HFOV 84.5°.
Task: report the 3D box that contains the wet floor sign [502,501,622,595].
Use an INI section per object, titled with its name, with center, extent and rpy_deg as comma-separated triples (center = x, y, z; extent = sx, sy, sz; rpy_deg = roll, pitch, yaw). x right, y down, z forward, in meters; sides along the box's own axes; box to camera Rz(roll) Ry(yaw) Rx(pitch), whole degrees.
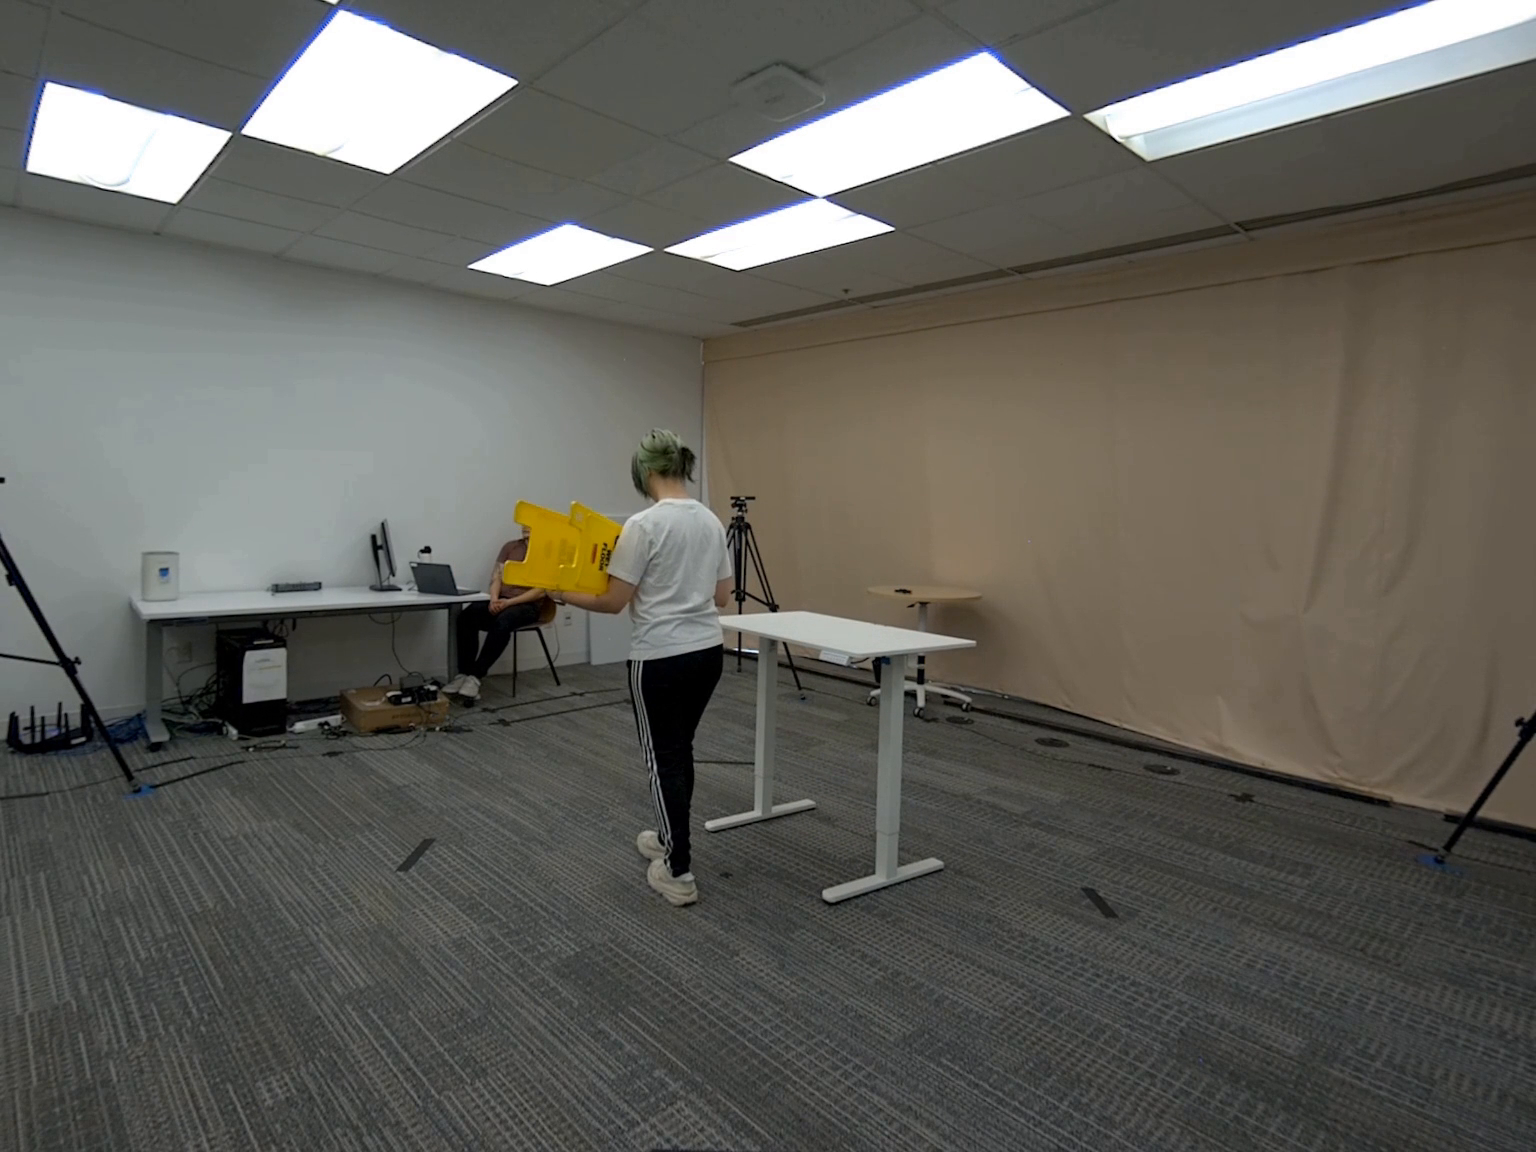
[wet floor sign]
center = -0.591, -0.055, 2.956
extent = 0.296, 0.283, 0.629
rpy_deg = 5, -7, 30
